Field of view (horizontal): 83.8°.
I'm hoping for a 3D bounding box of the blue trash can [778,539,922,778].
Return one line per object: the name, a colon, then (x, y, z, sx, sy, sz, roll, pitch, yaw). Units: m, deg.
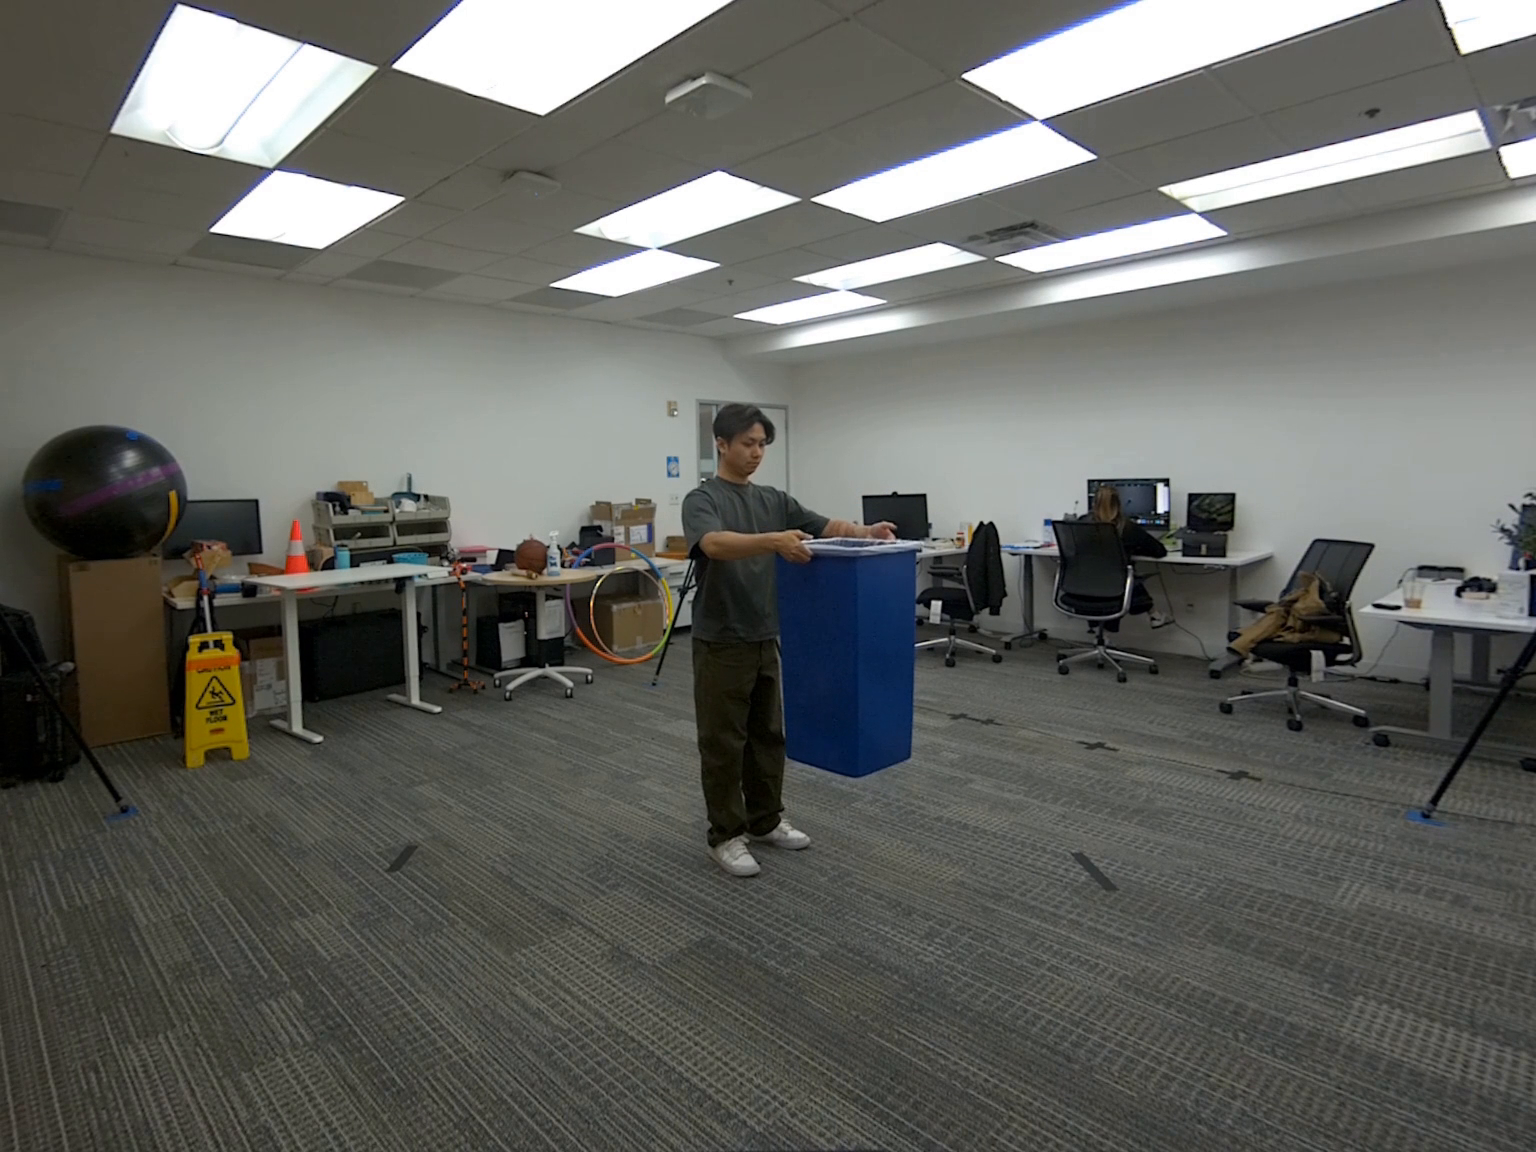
blue trash can: (0.274, 0.251, 2.802, 0.385, 0.712, 0.368, 1, 4, 44)
